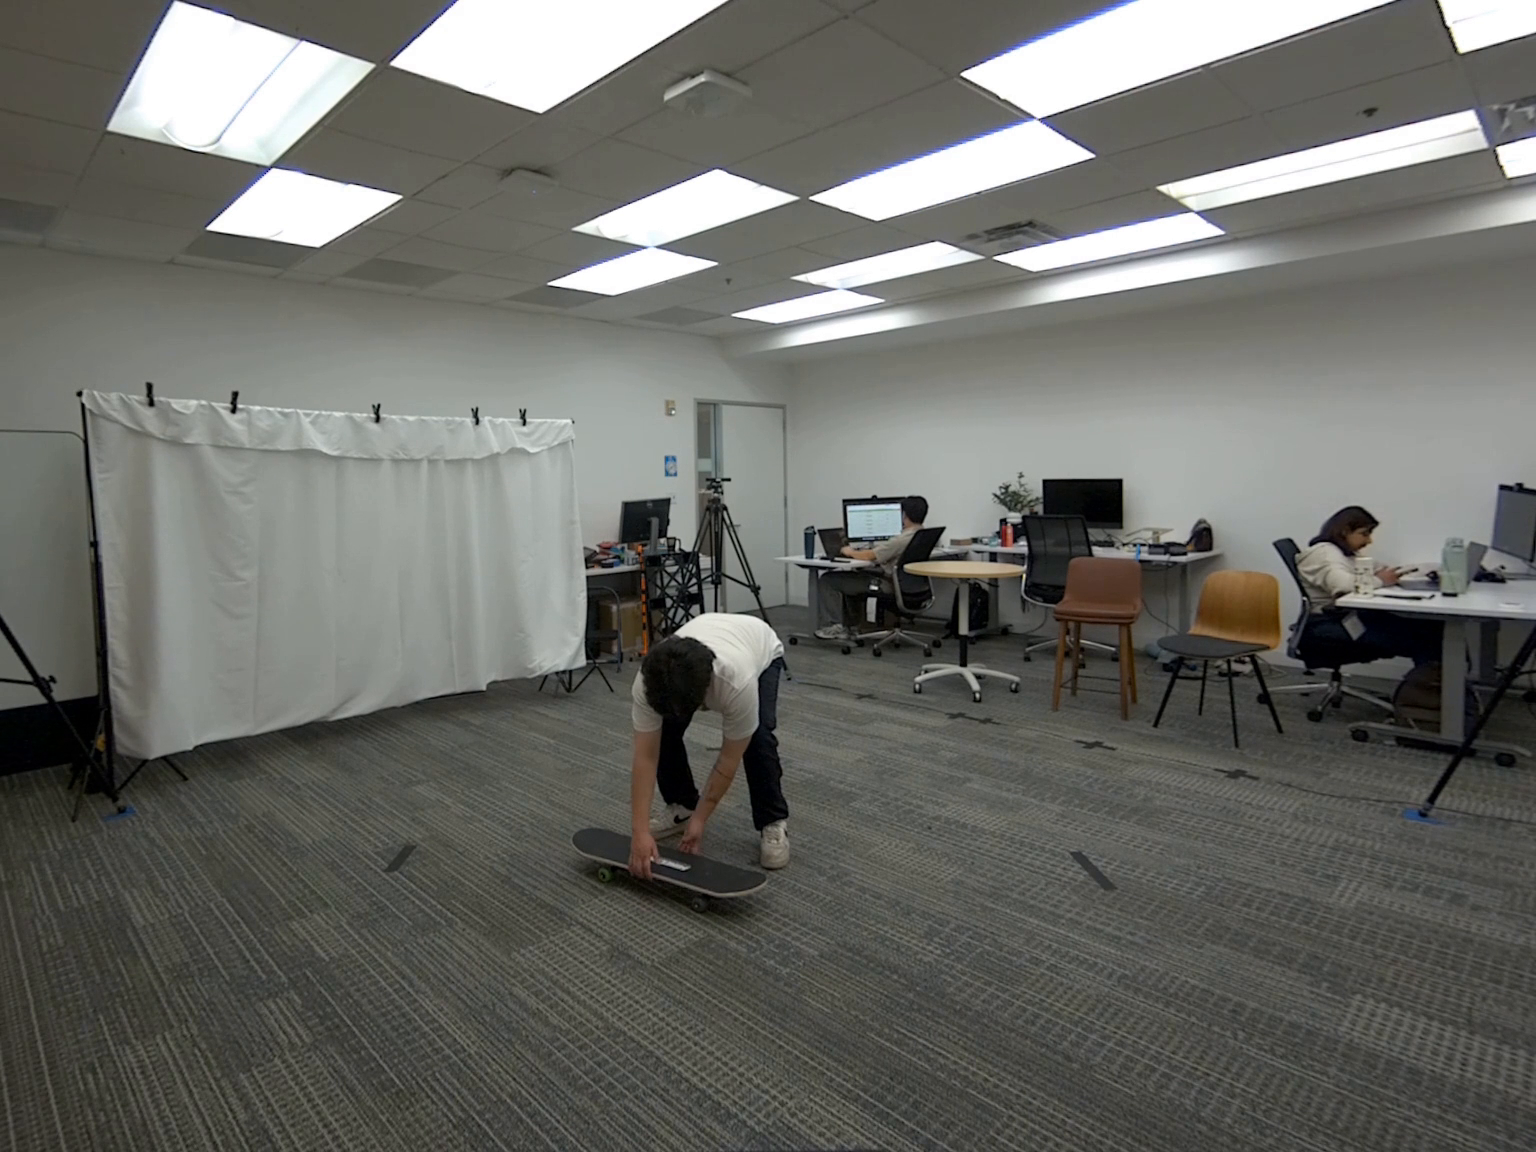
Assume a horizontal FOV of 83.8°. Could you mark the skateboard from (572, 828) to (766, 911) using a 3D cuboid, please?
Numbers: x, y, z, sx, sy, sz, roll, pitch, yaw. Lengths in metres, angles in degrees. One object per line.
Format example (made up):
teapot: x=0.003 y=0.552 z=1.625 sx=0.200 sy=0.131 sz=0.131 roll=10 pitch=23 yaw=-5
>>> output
skateboard: x=-0.353 y=1.009 z=2.933 sx=0.807 sy=0.110 sz=0.189 roll=3 pitch=8 yaw=32
